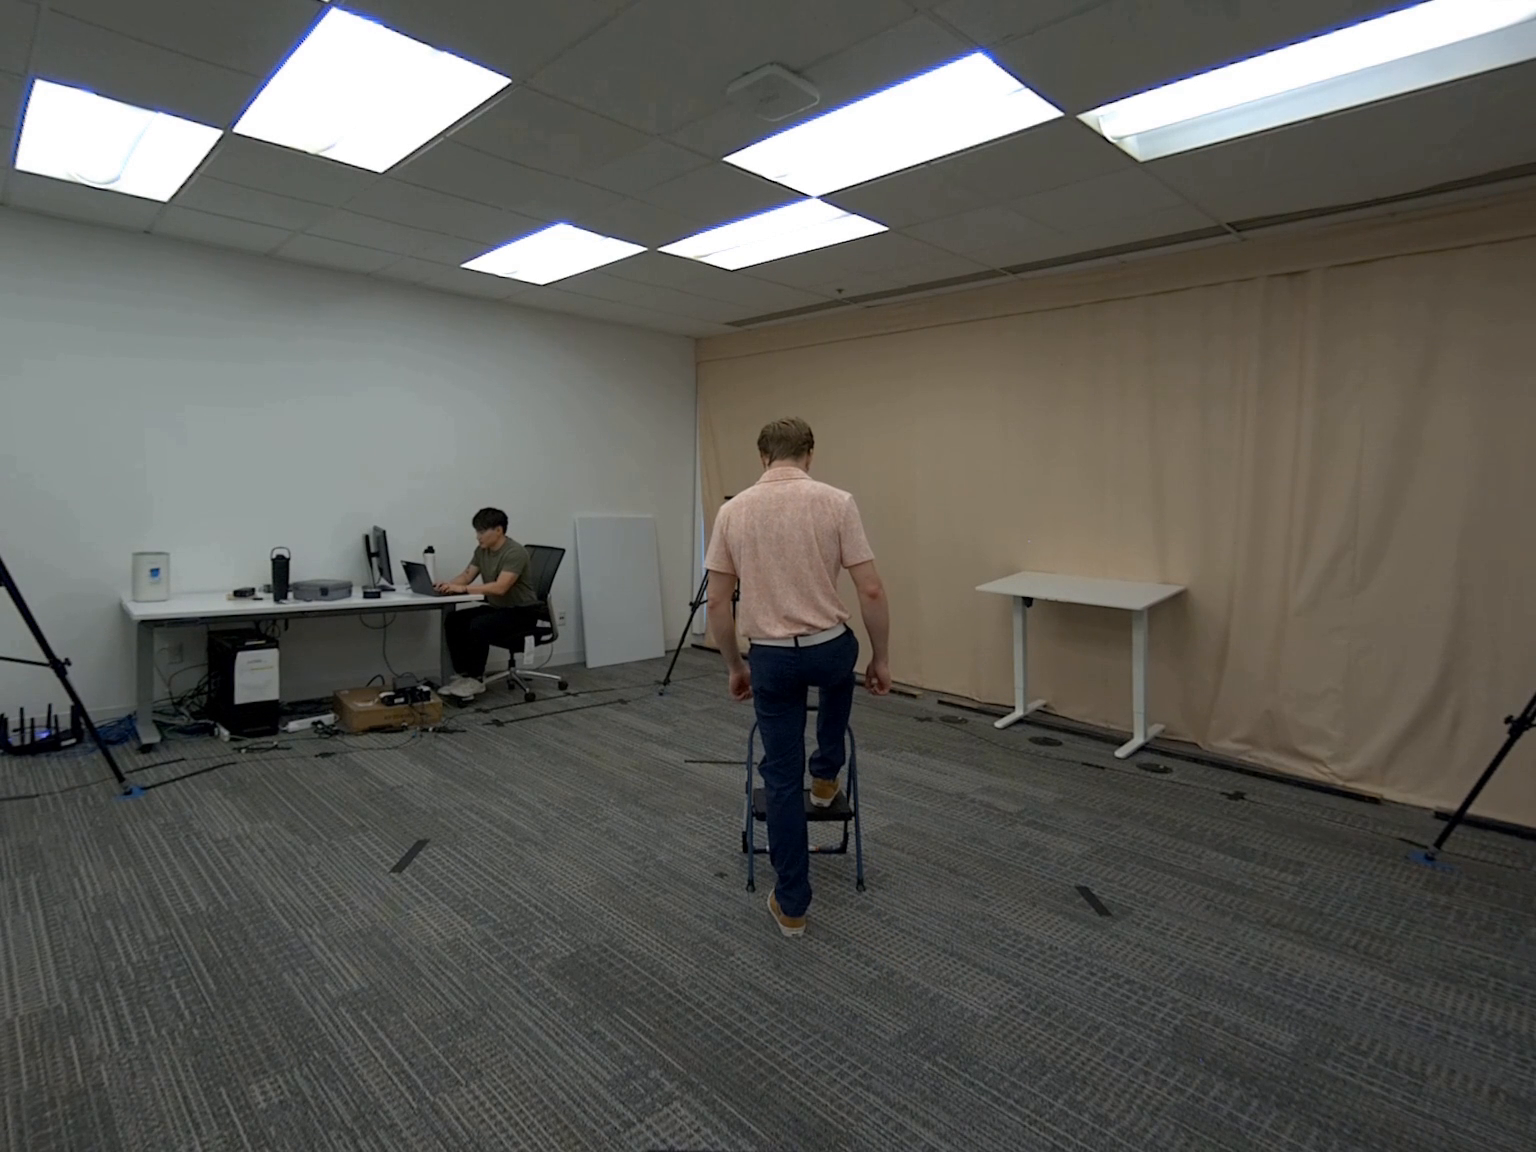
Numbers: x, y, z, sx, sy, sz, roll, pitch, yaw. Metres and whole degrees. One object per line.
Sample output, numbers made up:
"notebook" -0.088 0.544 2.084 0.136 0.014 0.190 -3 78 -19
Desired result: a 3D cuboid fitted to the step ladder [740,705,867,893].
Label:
"step ladder" 0.121 0.803 3.147 0.429 0.605 0.351 1 3 -5
